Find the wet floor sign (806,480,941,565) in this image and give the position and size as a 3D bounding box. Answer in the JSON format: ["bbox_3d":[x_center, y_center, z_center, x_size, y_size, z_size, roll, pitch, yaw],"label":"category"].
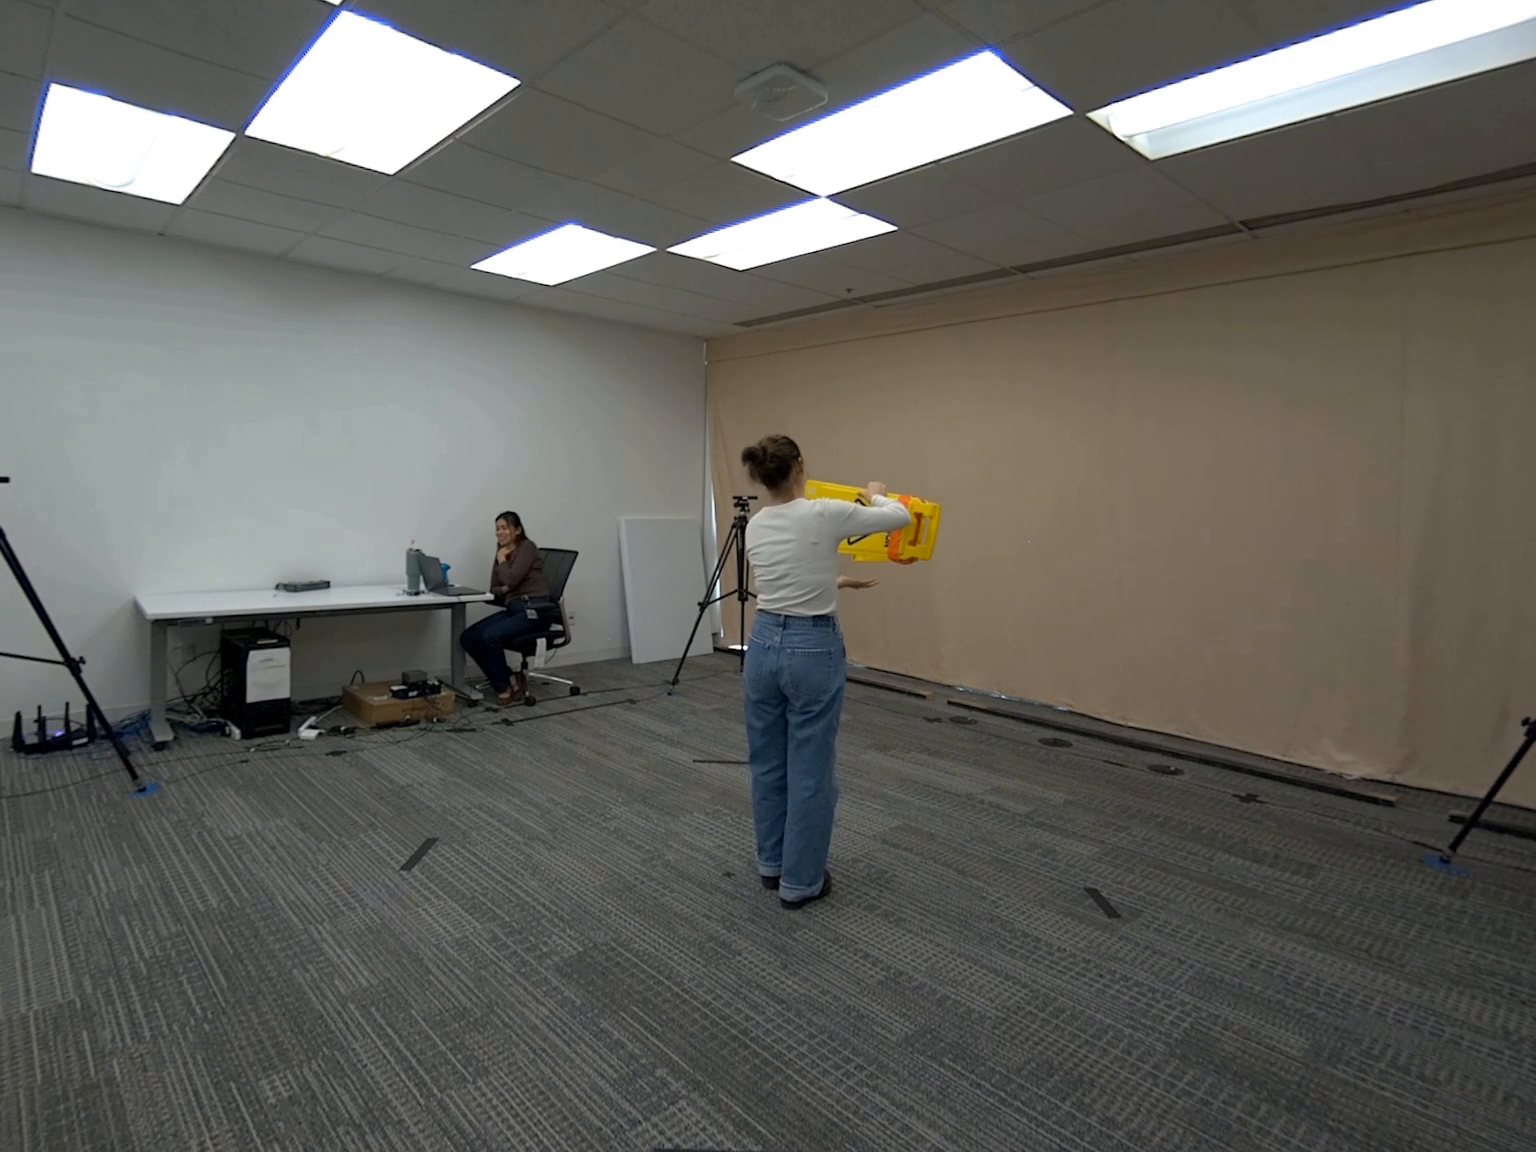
[{"bbox_3d":[0.397,-0.183,3.184,0.283,0.282,0.661,12,1,-28],"label":"wet floor sign"}]
